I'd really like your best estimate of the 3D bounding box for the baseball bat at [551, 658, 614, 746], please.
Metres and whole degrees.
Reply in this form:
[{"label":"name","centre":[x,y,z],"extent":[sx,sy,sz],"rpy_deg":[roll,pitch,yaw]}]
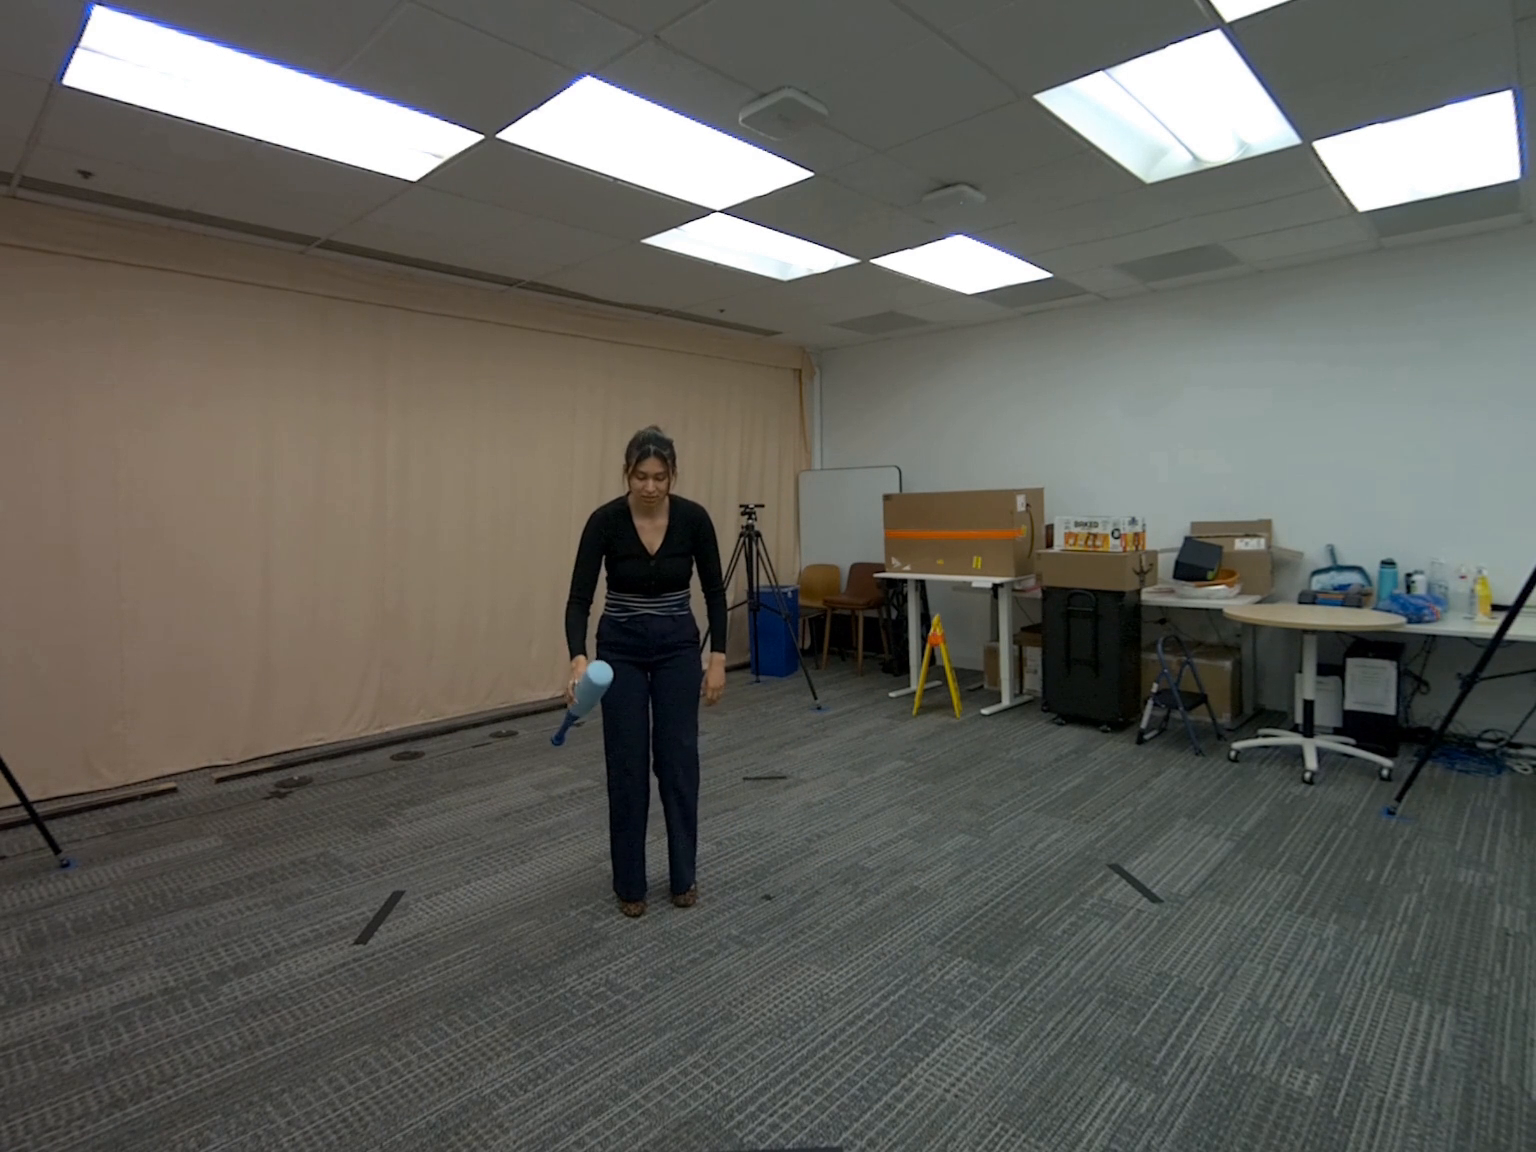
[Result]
[{"label":"baseball bat","centre":[-0.608,0.423,2.666],"extent":[0.087,0.091,0.545],"rpy_deg":[-2,-30,-31]}]
